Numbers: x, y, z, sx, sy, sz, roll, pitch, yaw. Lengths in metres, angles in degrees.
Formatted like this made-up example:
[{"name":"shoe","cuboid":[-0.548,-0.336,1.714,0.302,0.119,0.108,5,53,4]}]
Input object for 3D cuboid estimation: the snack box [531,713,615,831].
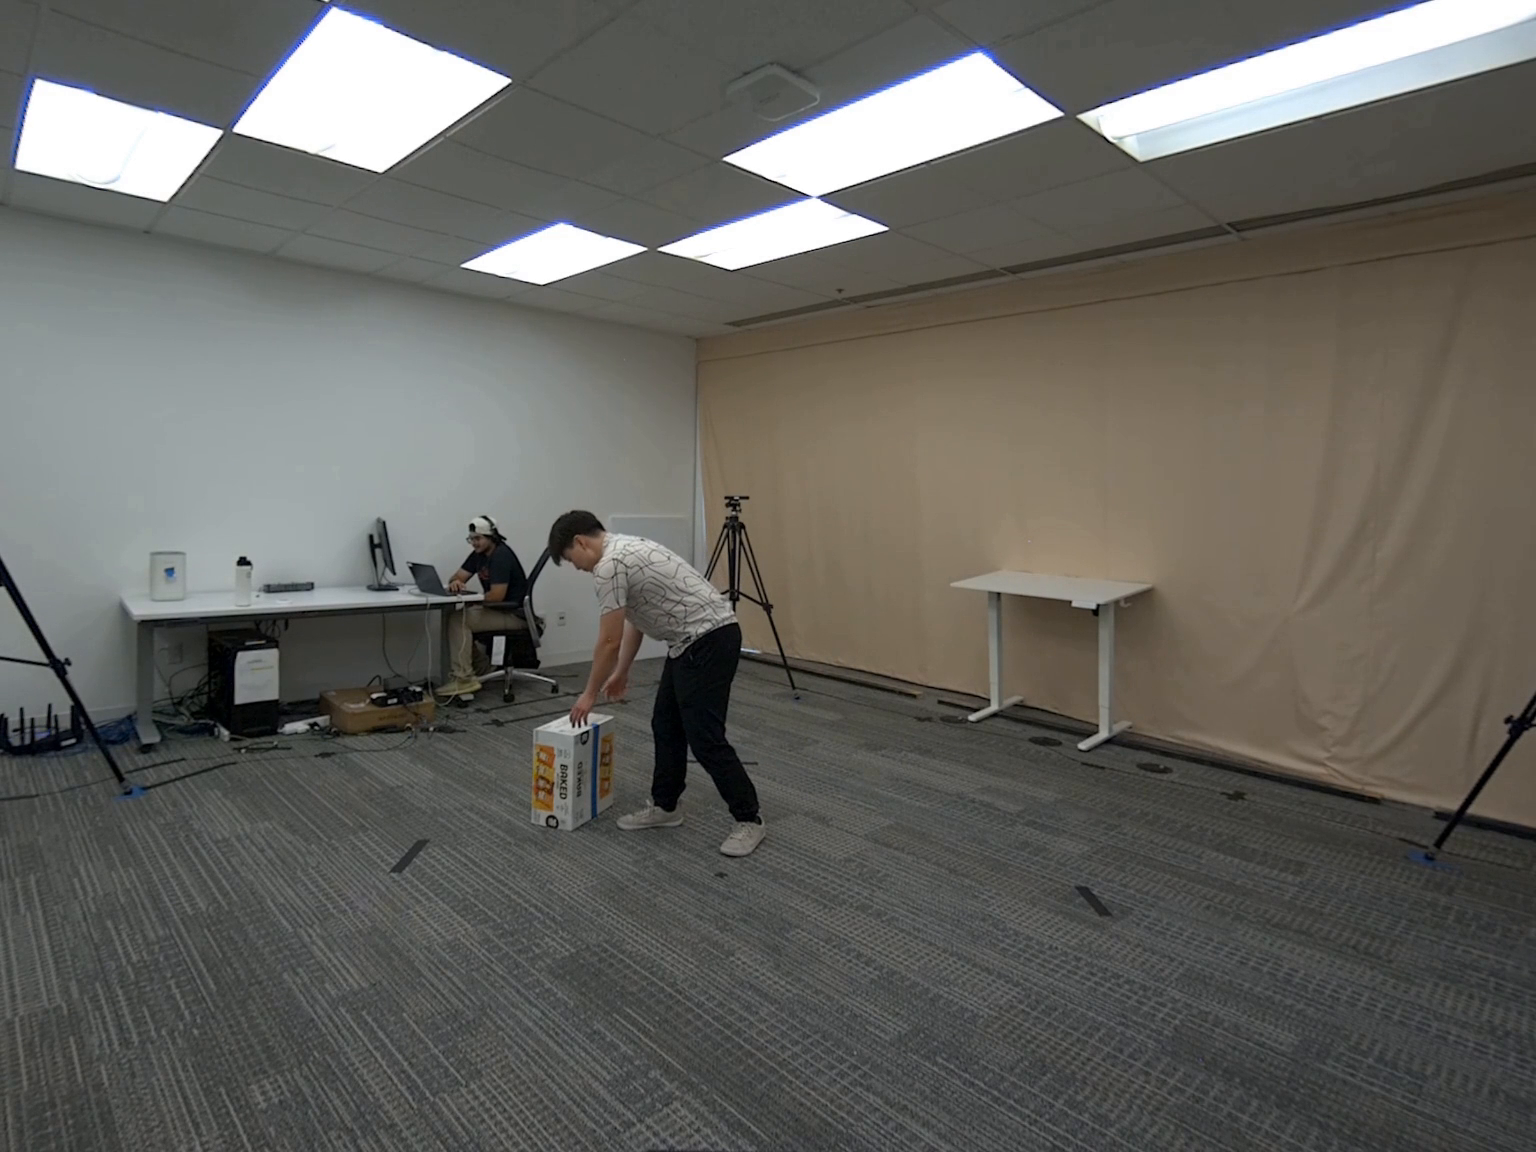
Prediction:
[{"name":"snack box","cuboid":[-0.846,0.832,3.654,0.209,0.404,0.336,3,5,20]}]
